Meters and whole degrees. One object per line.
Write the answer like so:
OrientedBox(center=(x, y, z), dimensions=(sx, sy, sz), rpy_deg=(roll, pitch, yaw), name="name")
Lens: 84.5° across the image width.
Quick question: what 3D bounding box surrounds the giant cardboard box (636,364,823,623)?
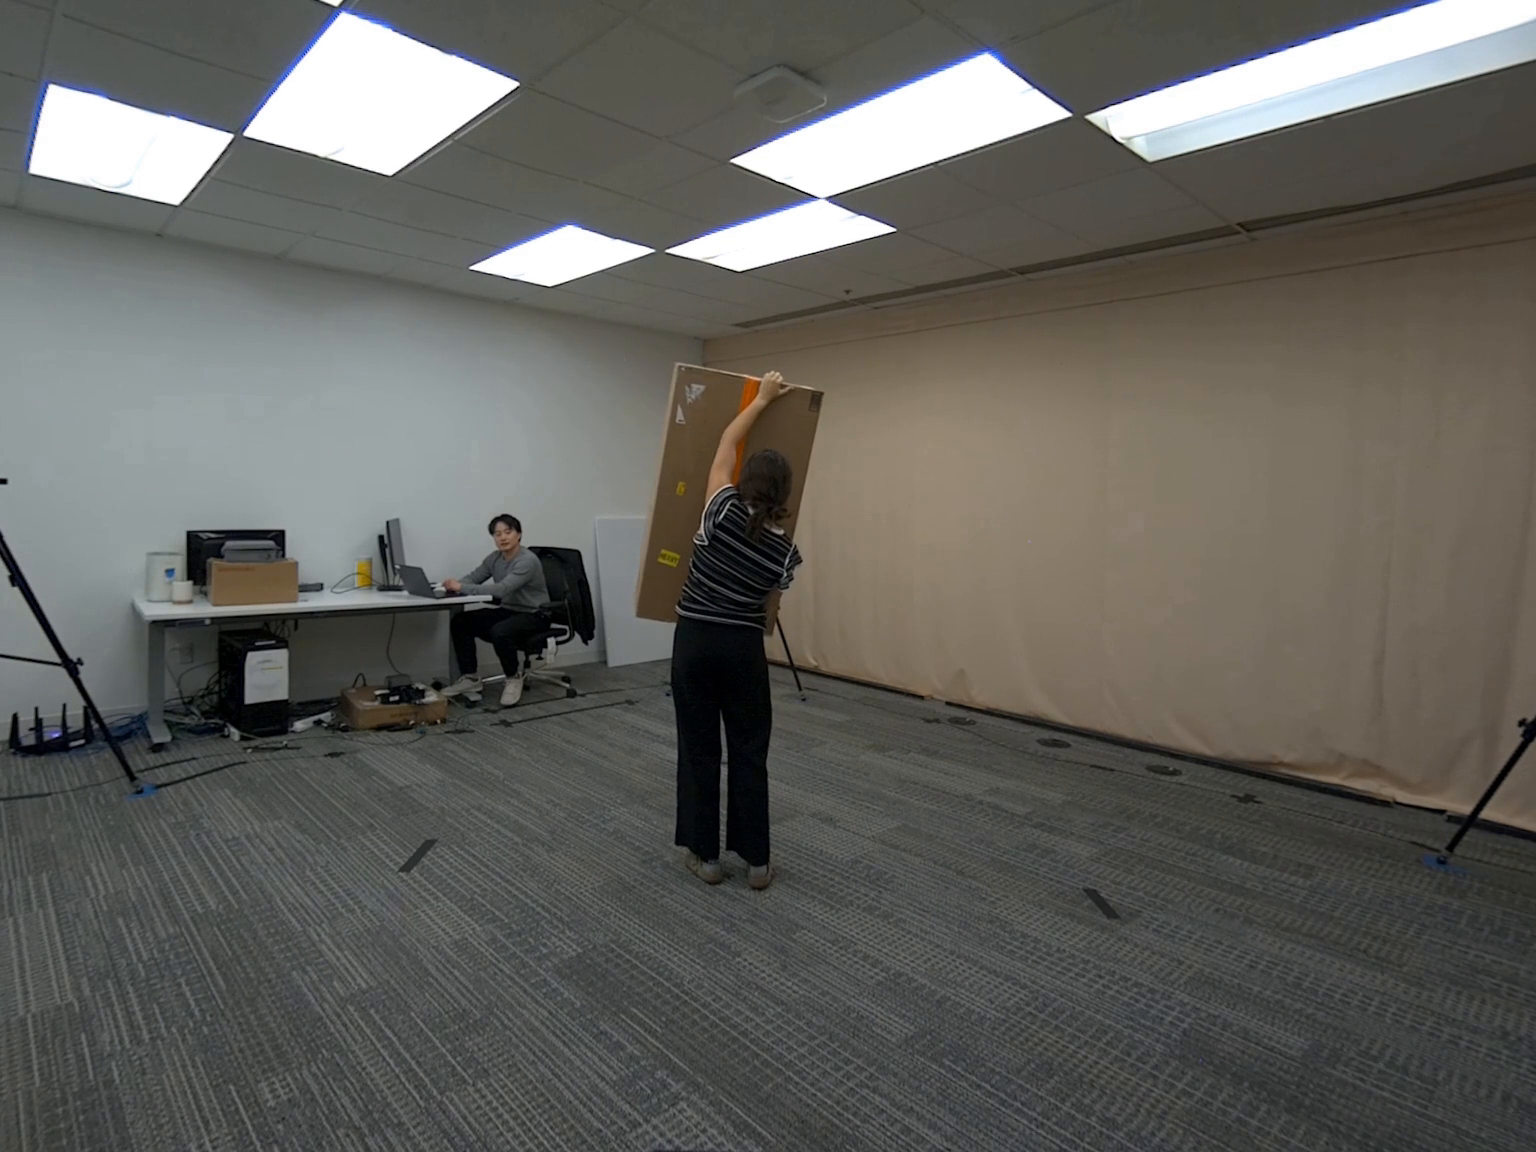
OrientedBox(center=(-0.192, -0.324, 3.528), dimensions=(0.573, 1.019, 0.432), rpy_deg=(9, 11, -8), name="giant cardboard box")
